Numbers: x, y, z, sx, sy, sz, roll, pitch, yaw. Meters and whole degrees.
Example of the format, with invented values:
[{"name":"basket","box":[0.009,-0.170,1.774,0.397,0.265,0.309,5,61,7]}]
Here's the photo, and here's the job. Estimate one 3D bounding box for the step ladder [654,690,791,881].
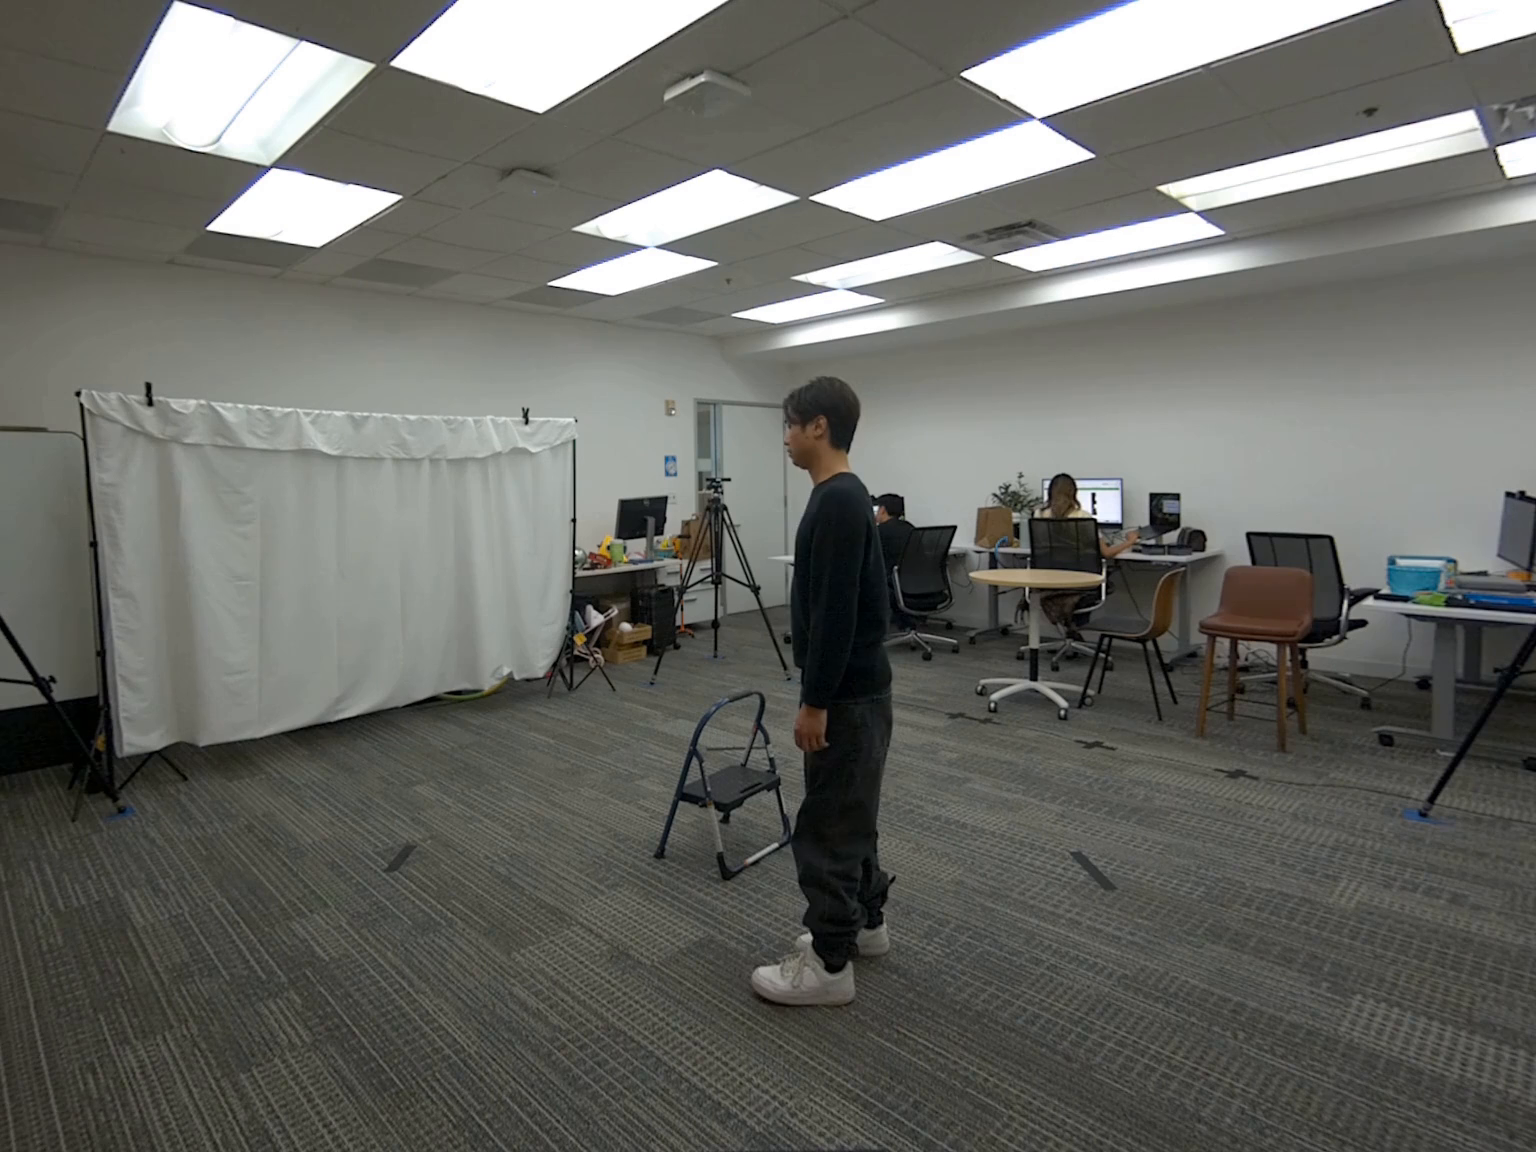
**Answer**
[{"name":"step ladder","box":[-0.167,0.727,3.208,0.359,0.604,0.420,2,6,36]}]
